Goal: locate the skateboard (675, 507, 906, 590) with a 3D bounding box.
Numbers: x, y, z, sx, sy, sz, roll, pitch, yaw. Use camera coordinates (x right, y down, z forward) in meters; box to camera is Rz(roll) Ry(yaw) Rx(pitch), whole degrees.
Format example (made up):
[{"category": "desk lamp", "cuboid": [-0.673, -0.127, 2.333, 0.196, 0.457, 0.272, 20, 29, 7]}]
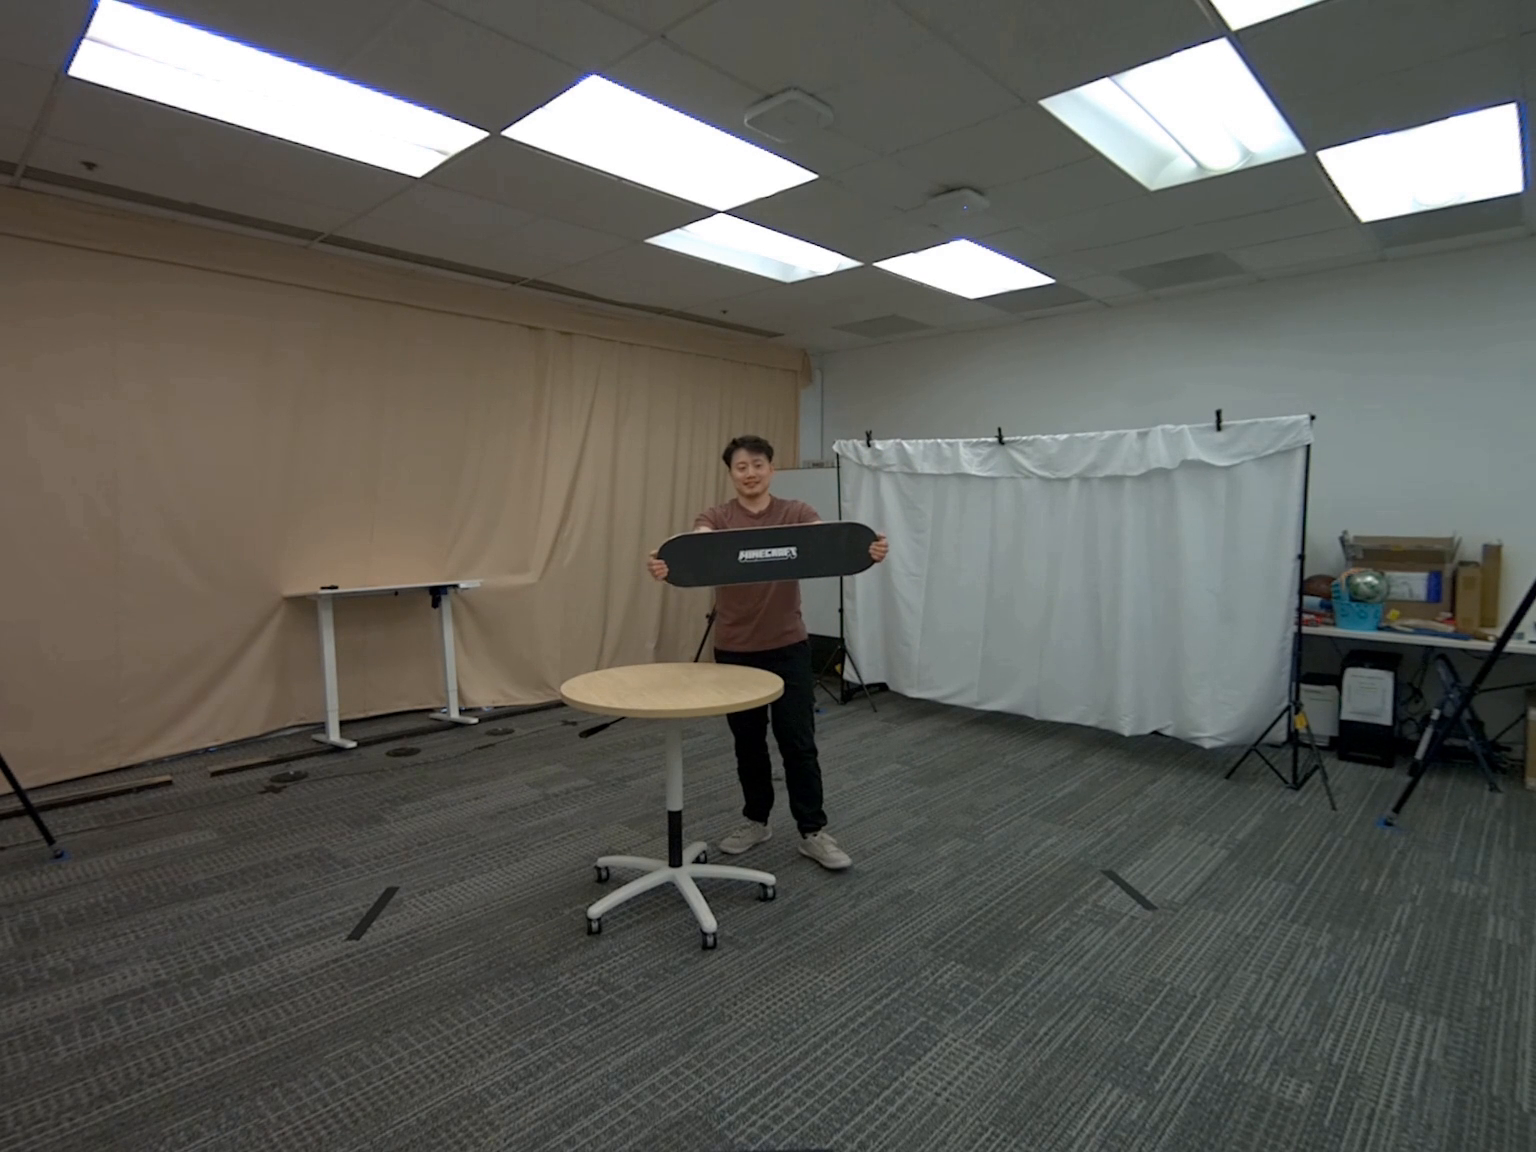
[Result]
[{"category": "skateboard", "cuboid": [0.072, -0.097, 2.998, 0.784, 0.194, 0.110, -7, -3, -2]}]
